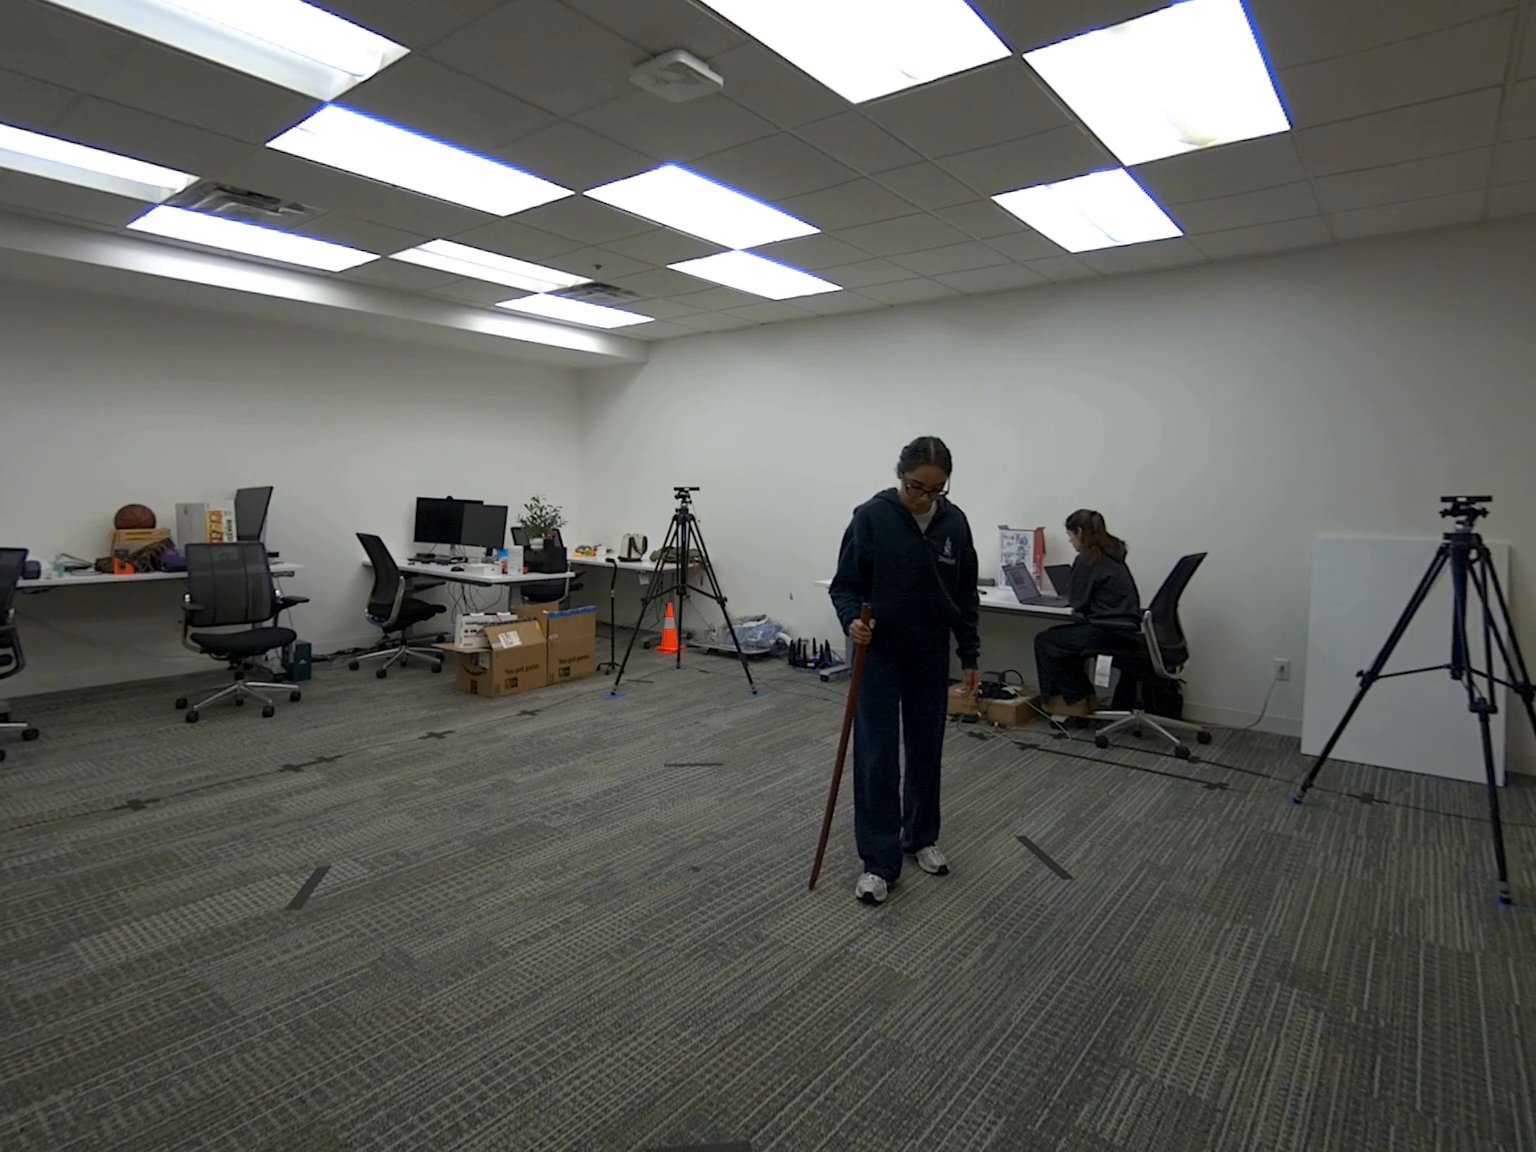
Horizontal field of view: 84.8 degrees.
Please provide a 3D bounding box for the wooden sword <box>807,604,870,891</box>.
[{"bbox_3d":[0.240,0.610,2.907,0.024,1.018,0.050,12,9,18],"label":"wooden sword"}]
